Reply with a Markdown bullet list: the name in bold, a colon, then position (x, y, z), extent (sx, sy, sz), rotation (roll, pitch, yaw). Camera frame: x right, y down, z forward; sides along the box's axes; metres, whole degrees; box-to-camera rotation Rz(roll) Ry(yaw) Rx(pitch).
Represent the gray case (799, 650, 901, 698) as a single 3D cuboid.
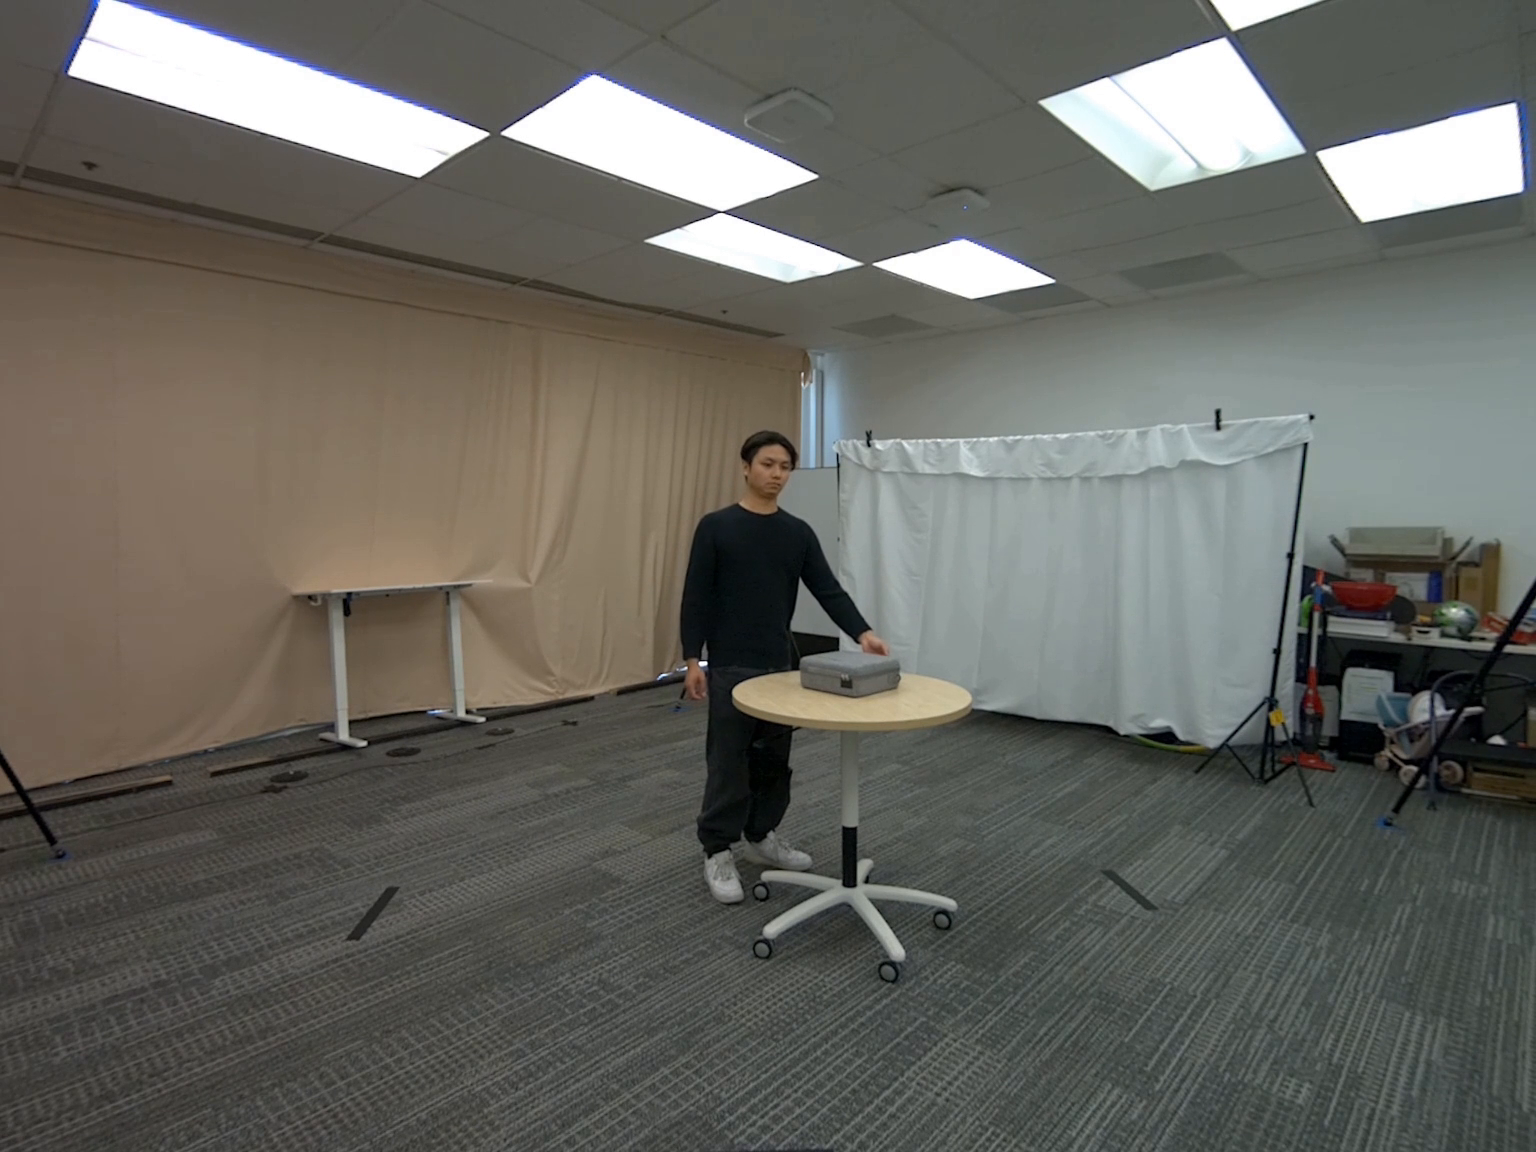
- **gray case**: position (0.272, 0.319, 2.810), extent (0.252, 0.104, 0.265), rotation (-3, 5, -43)
